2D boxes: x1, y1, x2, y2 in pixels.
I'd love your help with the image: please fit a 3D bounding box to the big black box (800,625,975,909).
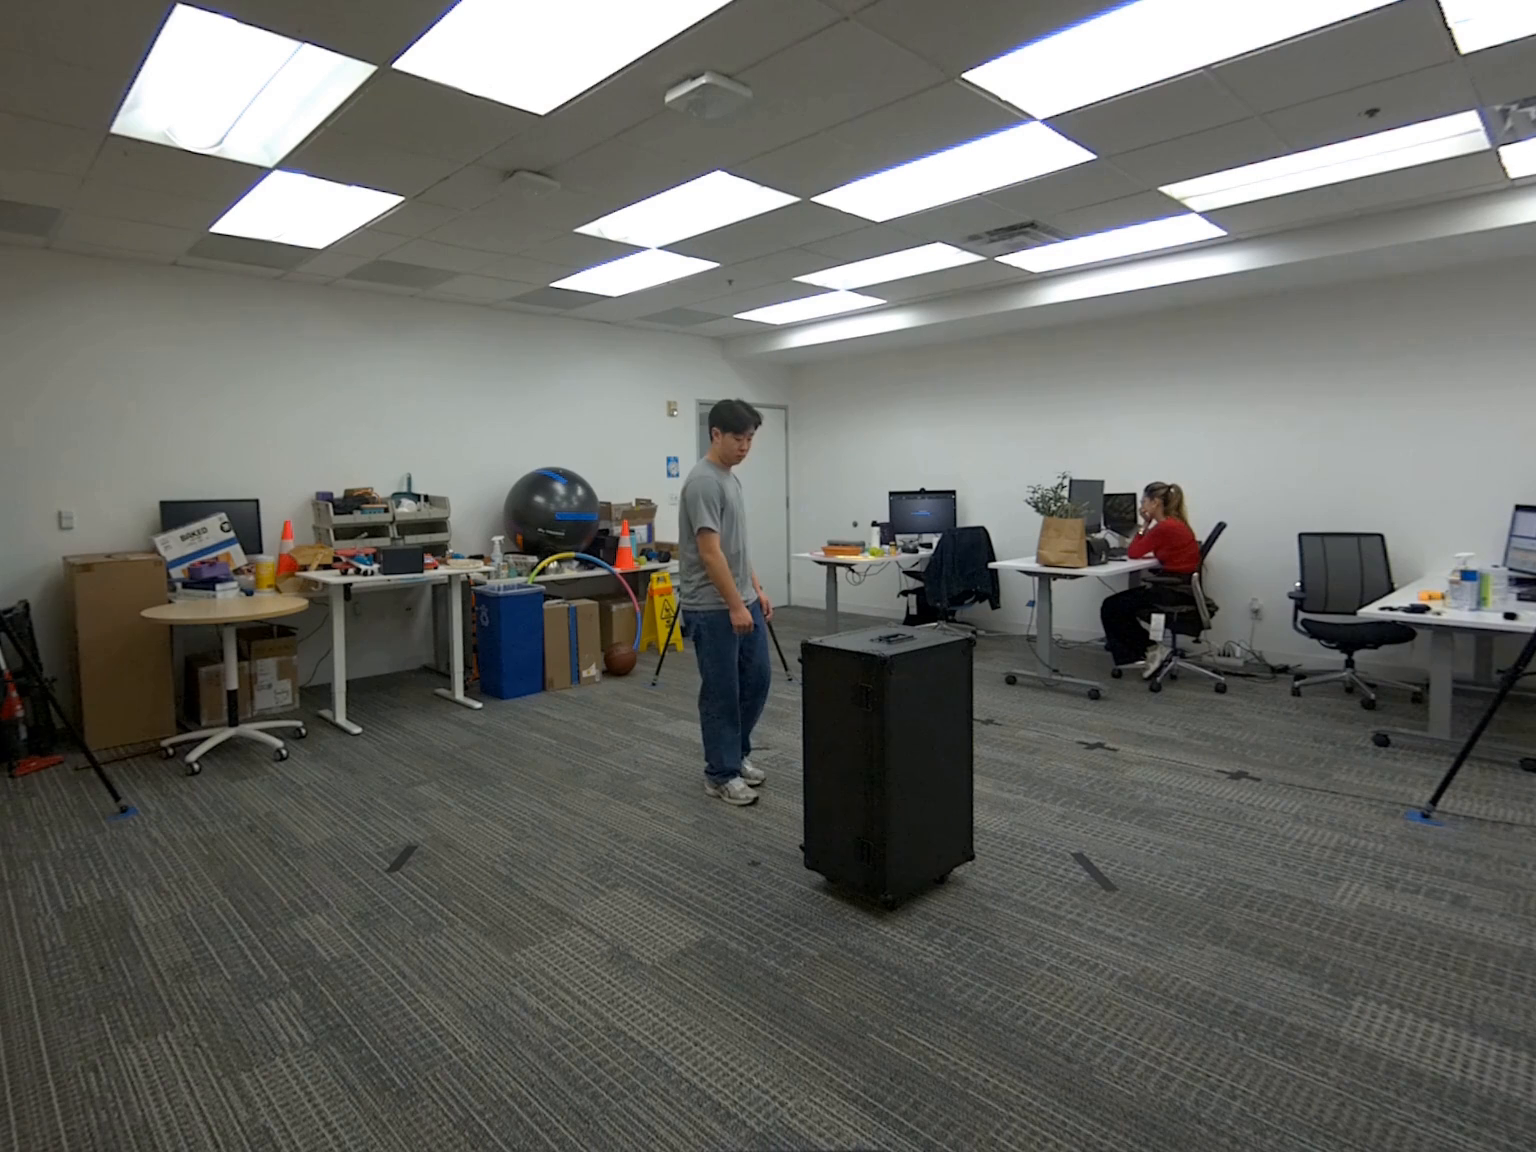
[{"bbox_3d":[0.405,0.633,2.914,0.507,0.859,0.408,-5,5,-42],"label":"big black box"}]
